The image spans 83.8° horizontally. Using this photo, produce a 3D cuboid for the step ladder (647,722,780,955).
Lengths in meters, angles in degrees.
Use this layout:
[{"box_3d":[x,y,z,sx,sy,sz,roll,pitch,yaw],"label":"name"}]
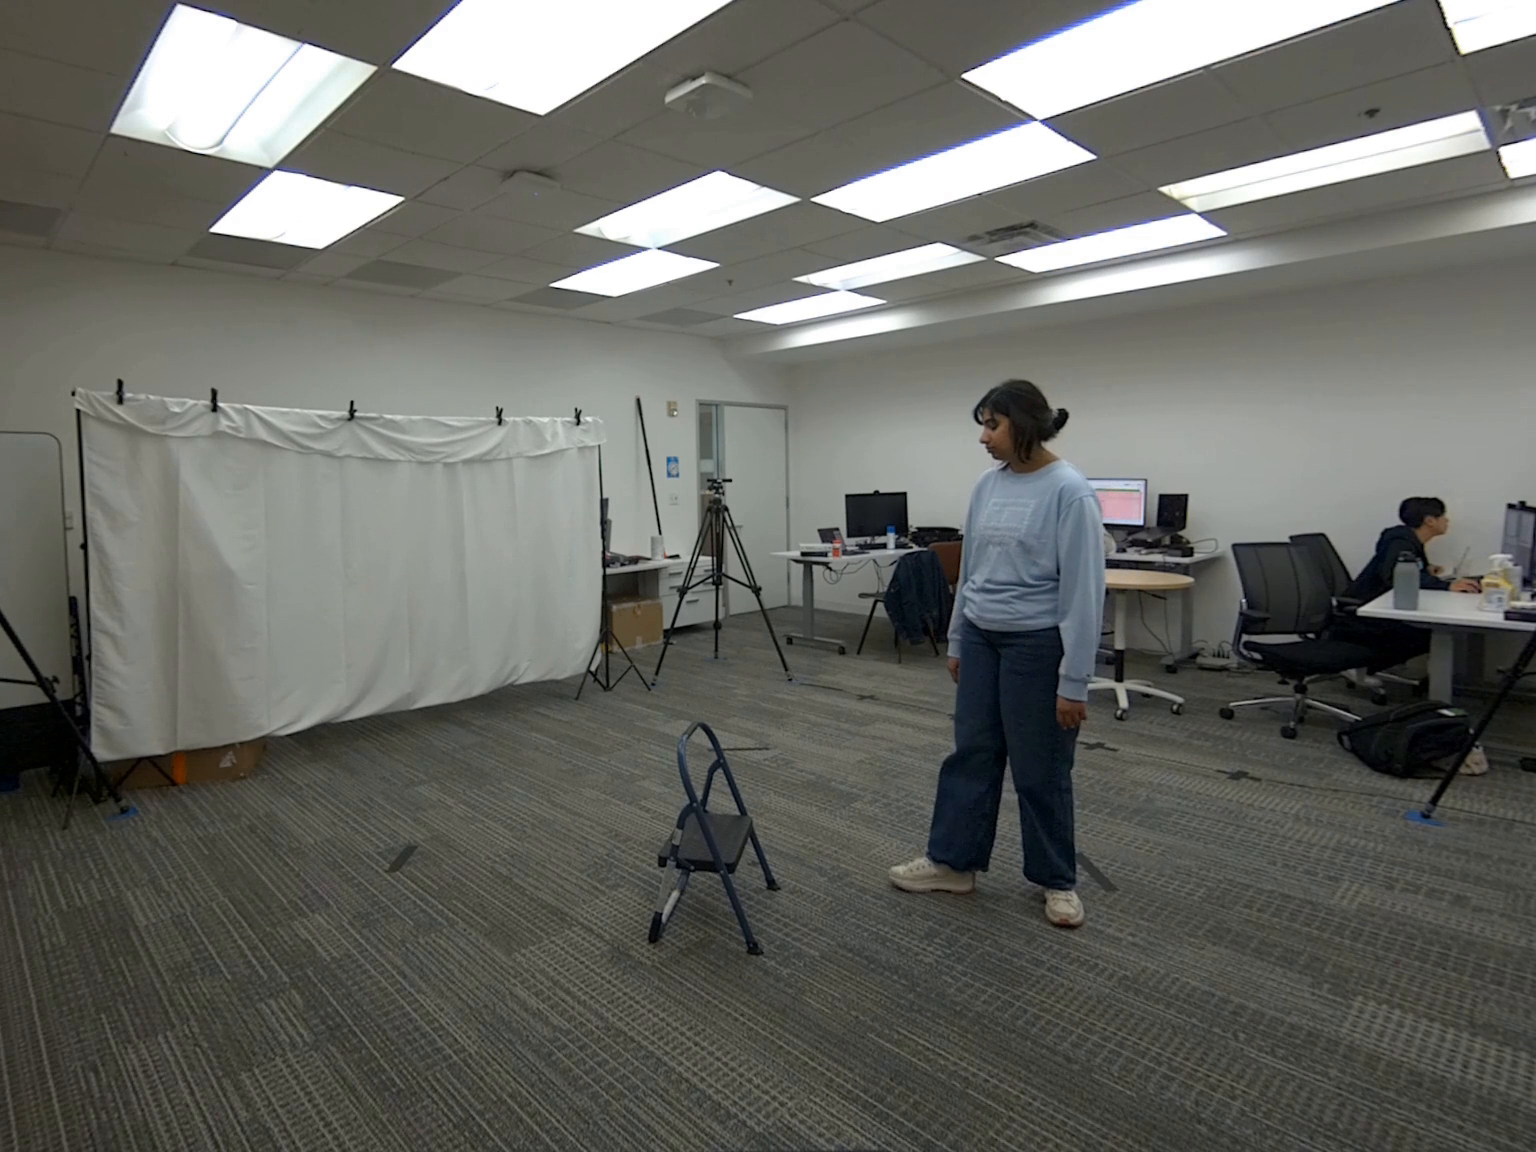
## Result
[{"box_3d":[-0.167,0.788,2.728,0.353,0.604,0.428,0,5,10],"label":"step ladder"}]
